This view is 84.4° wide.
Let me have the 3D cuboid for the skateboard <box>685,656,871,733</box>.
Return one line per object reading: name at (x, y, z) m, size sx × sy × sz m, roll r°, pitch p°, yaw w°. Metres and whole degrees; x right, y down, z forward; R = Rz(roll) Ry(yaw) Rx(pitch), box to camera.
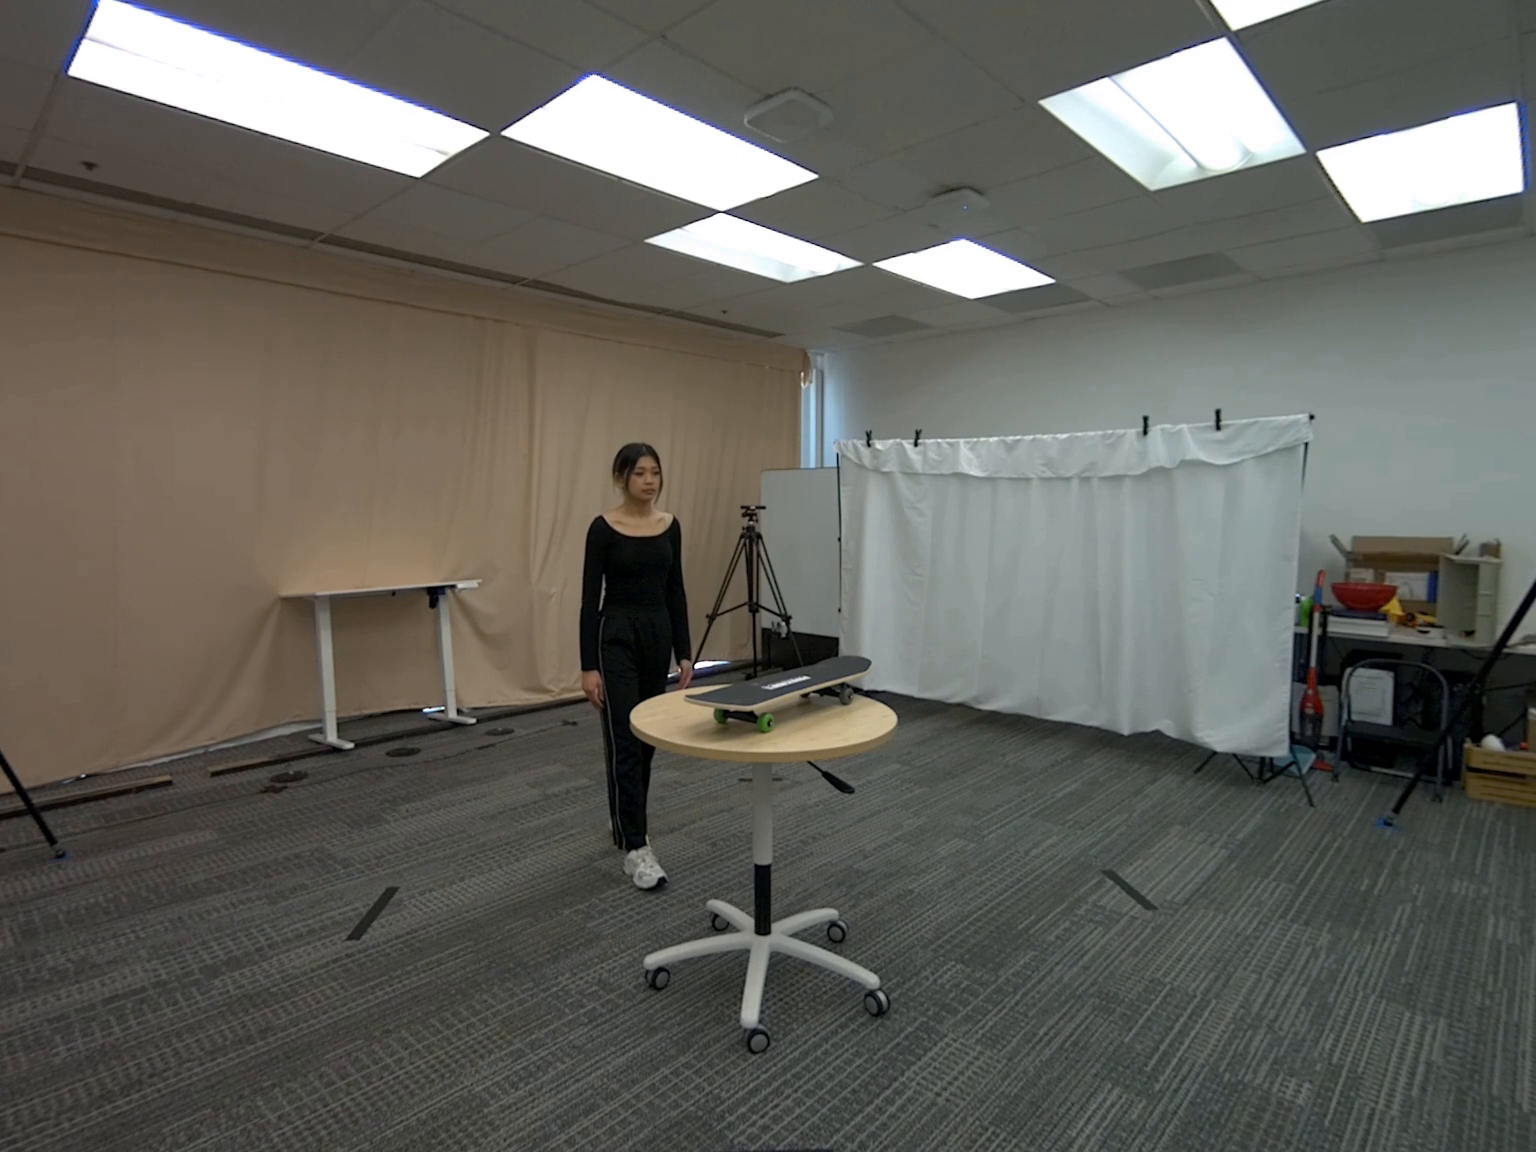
skateboard at (0.060, 0.352, 2.428) m, size 0.200 × 0.110 × 0.762 m, roll 6°, pitch 7°, yaw 38°
